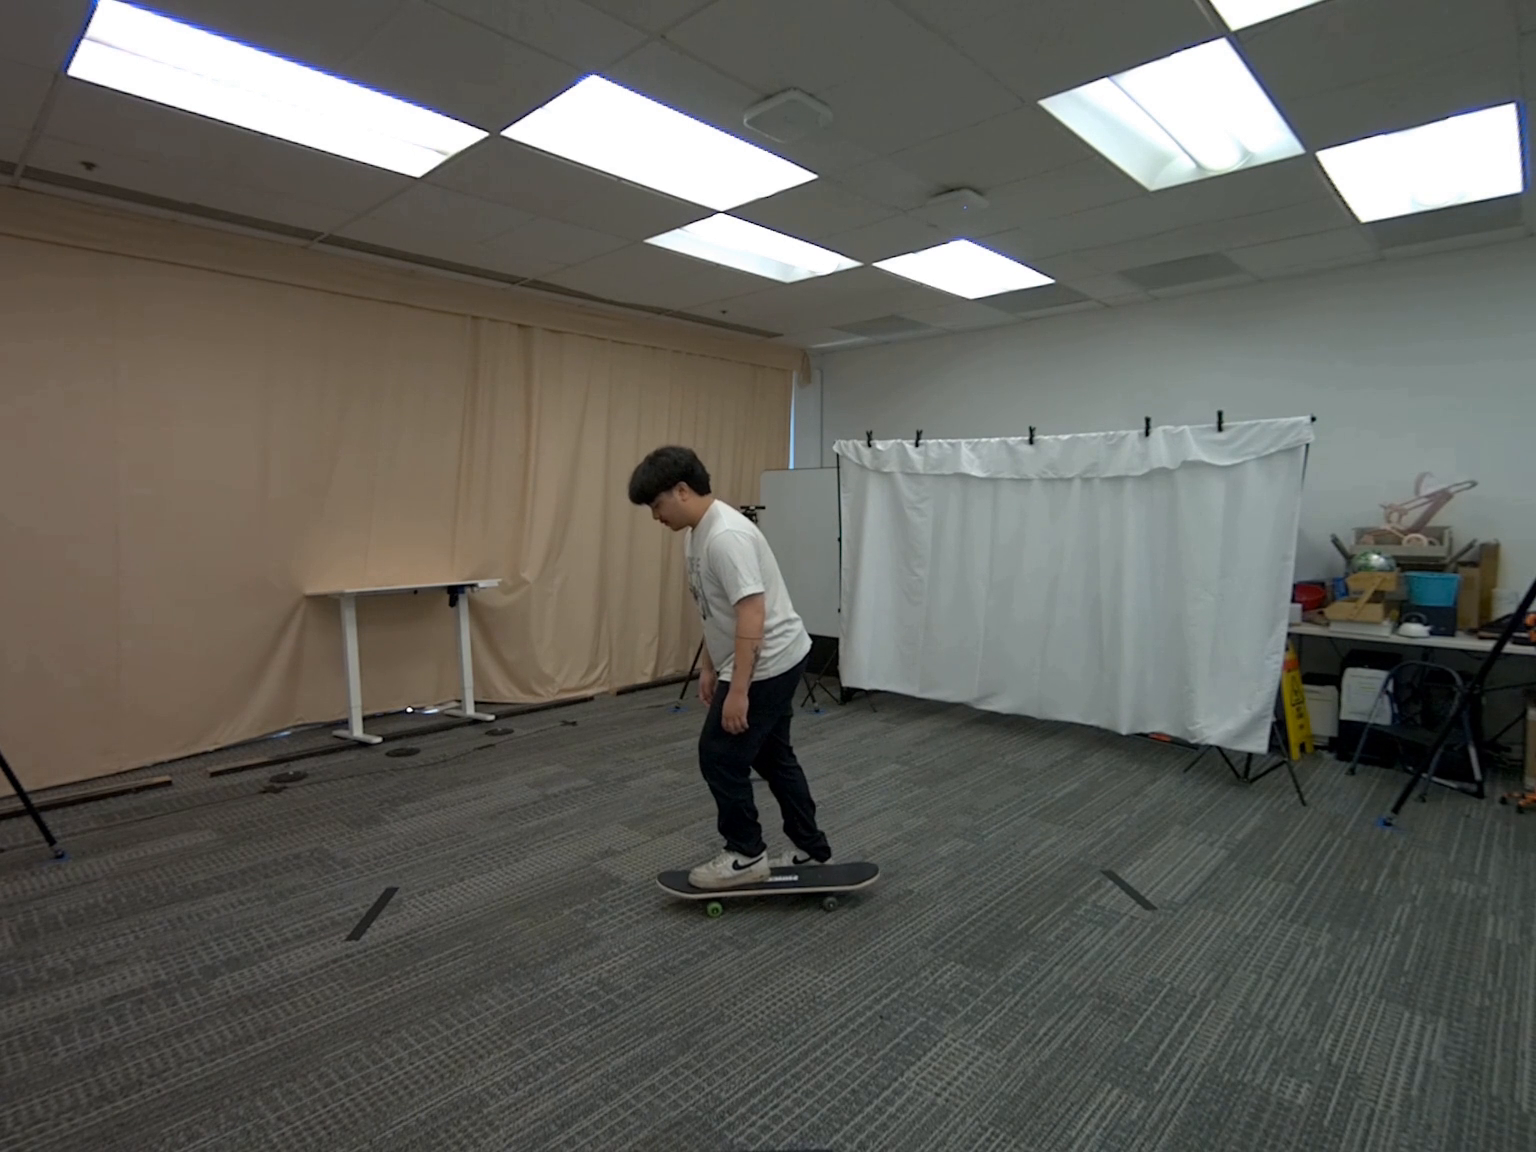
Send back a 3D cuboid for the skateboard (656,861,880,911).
[{"bbox_3d":[0.007,1.089,2.953,0.781,0.110,0.195,-1,5,-5],"label":"skateboard"}]
